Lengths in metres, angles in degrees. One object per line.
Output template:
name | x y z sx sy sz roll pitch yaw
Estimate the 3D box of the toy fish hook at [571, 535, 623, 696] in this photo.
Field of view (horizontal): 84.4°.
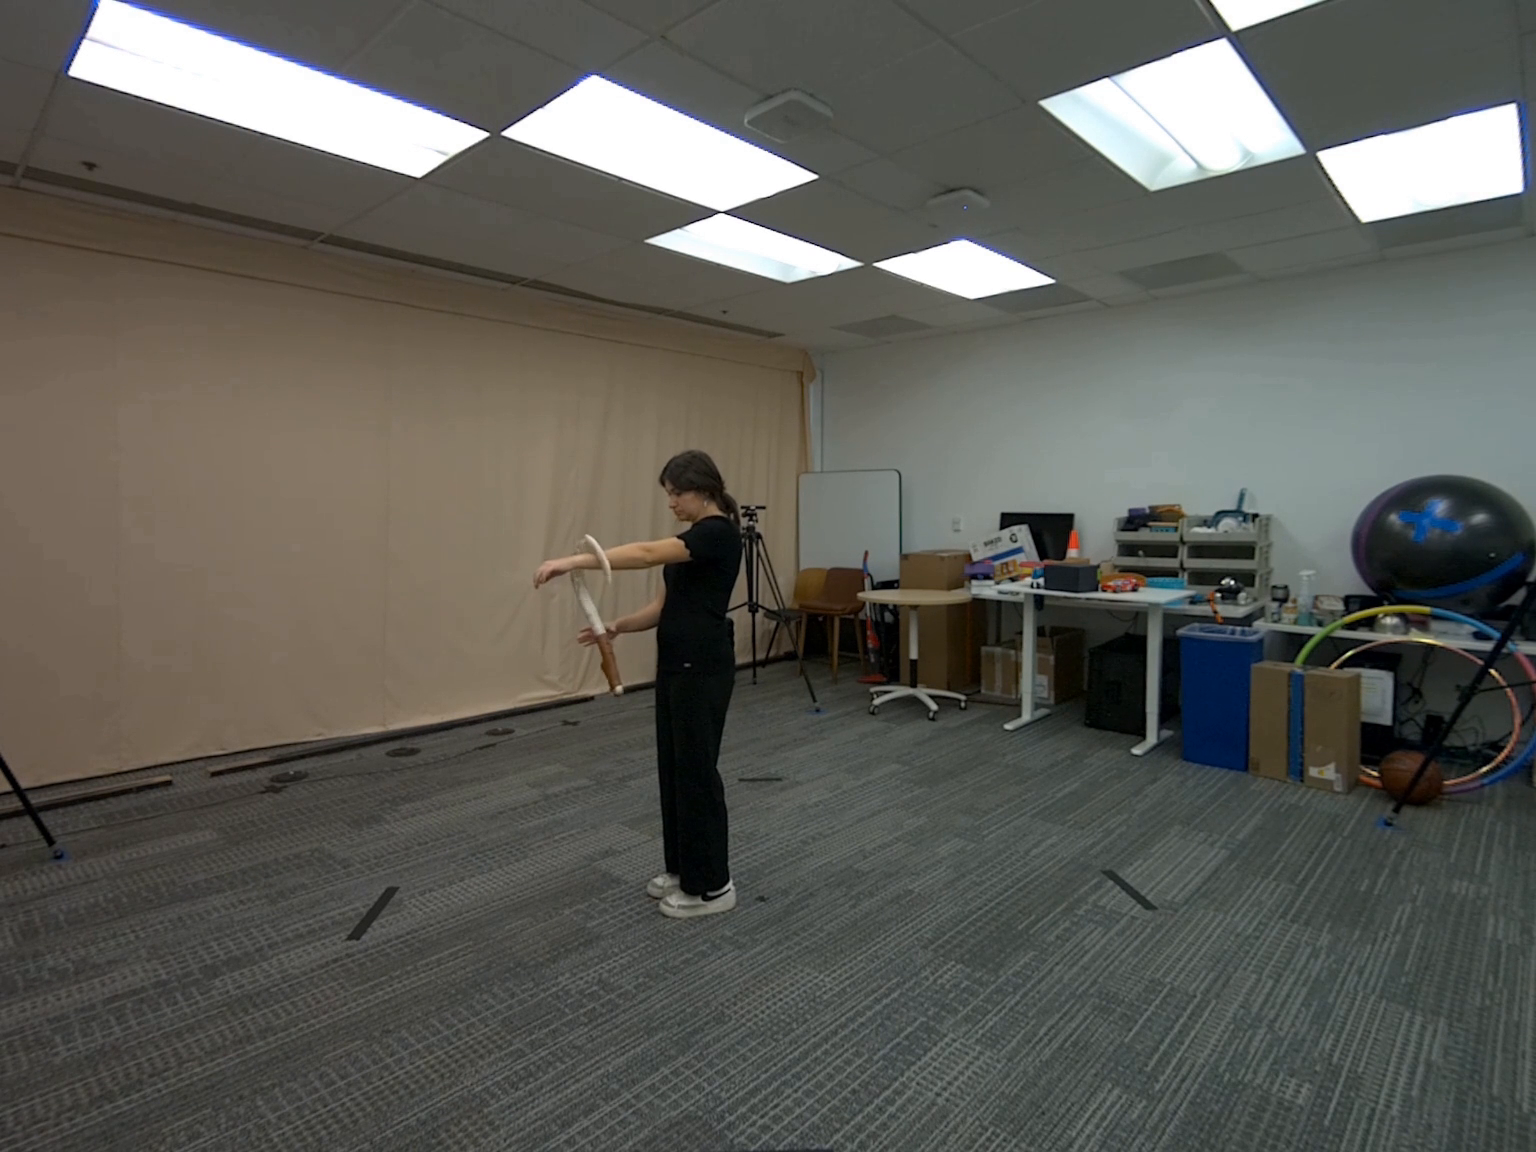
toy fish hook | -0.512 0.112 2.621 0.047 0.514 0.227 -8 -20 -39
